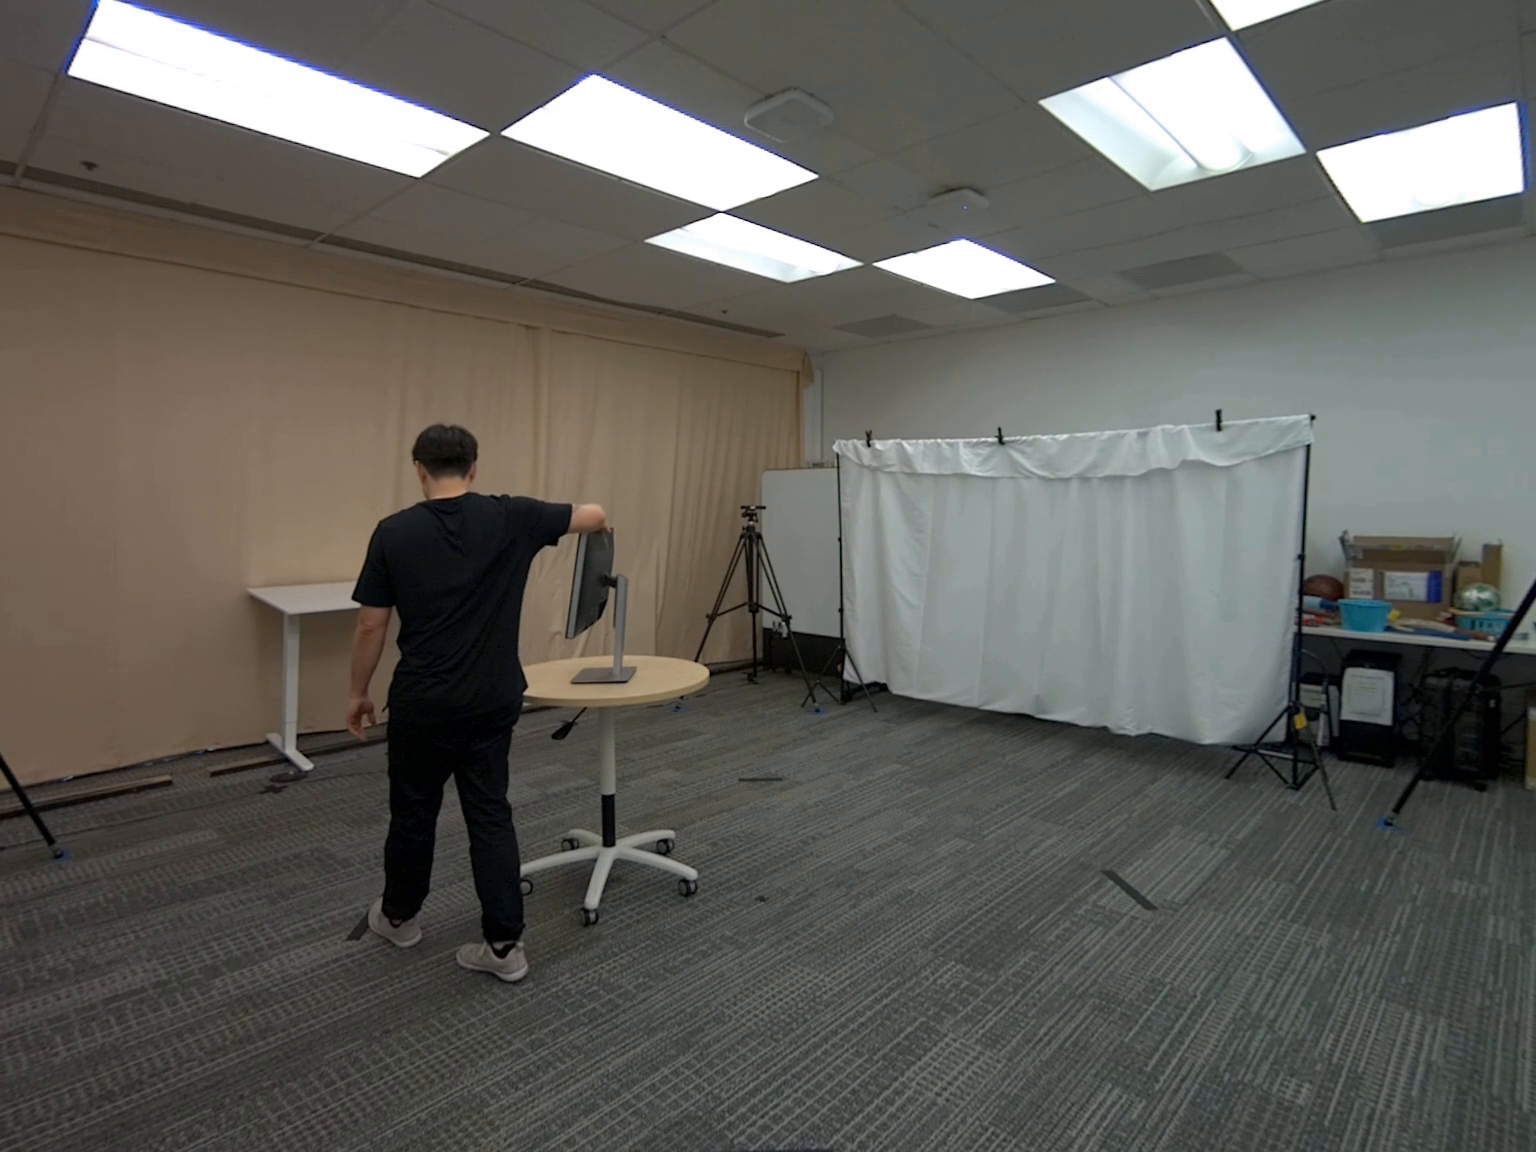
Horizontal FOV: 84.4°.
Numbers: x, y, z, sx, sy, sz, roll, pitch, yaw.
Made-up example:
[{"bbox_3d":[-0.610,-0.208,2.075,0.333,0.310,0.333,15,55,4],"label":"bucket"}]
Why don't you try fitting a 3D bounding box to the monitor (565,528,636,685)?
[{"bbox_3d":[-0.592,0.102,3.035,0.187,0.521,0.541,-3,4,-3],"label":"monitor"}]
